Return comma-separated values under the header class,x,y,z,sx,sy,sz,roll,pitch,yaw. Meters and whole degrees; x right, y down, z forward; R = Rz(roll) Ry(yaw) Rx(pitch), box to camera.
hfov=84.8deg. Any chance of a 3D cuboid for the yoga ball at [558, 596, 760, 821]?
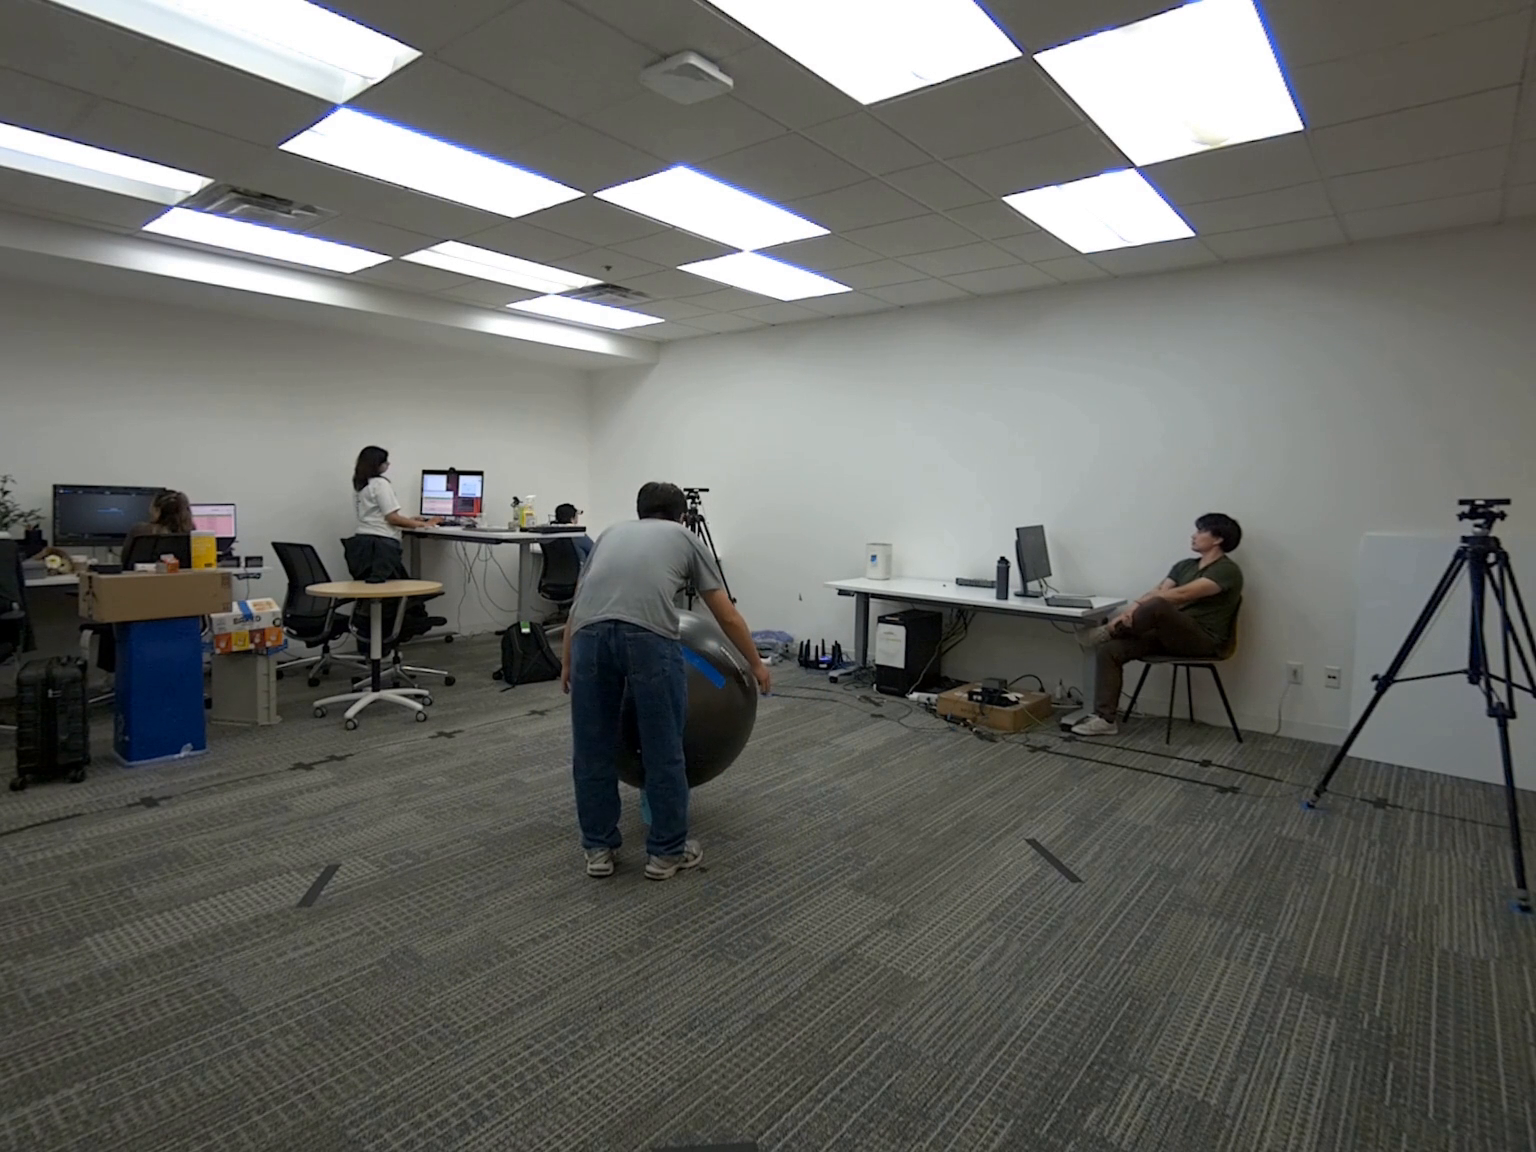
class,x,y,z,sx,sy,sz,roll,pitch,yaw
yoga ball,-0.440,0.508,3.558,0.757,0.756,0.761,1,4,-2
